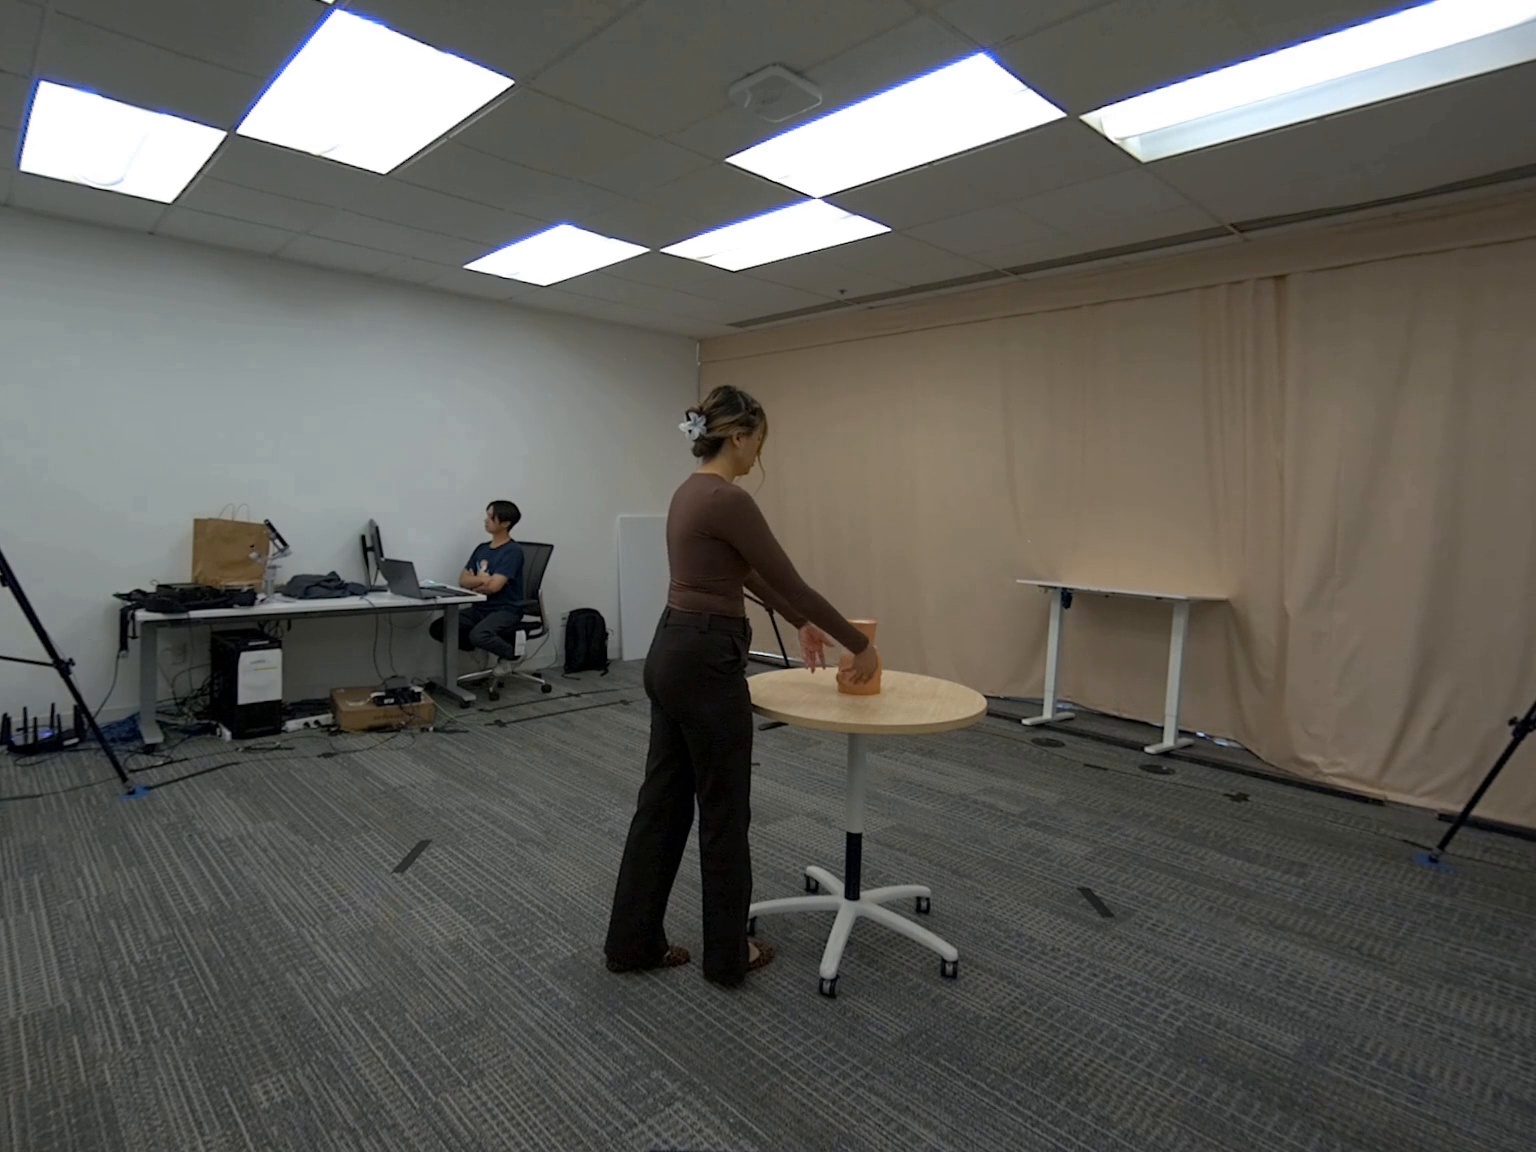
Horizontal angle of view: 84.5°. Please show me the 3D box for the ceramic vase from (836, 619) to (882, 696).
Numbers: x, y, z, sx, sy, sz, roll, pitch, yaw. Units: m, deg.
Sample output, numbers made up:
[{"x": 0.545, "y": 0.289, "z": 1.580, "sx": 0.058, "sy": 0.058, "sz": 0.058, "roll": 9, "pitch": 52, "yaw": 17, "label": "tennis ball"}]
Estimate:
[{"x": 0.281, "y": 0.252, "z": 2.635, "sx": 0.136, "sy": 0.219, "sz": 0.158, "roll": 3, "pitch": 4, "yaw": 10, "label": "ceramic vase"}]
